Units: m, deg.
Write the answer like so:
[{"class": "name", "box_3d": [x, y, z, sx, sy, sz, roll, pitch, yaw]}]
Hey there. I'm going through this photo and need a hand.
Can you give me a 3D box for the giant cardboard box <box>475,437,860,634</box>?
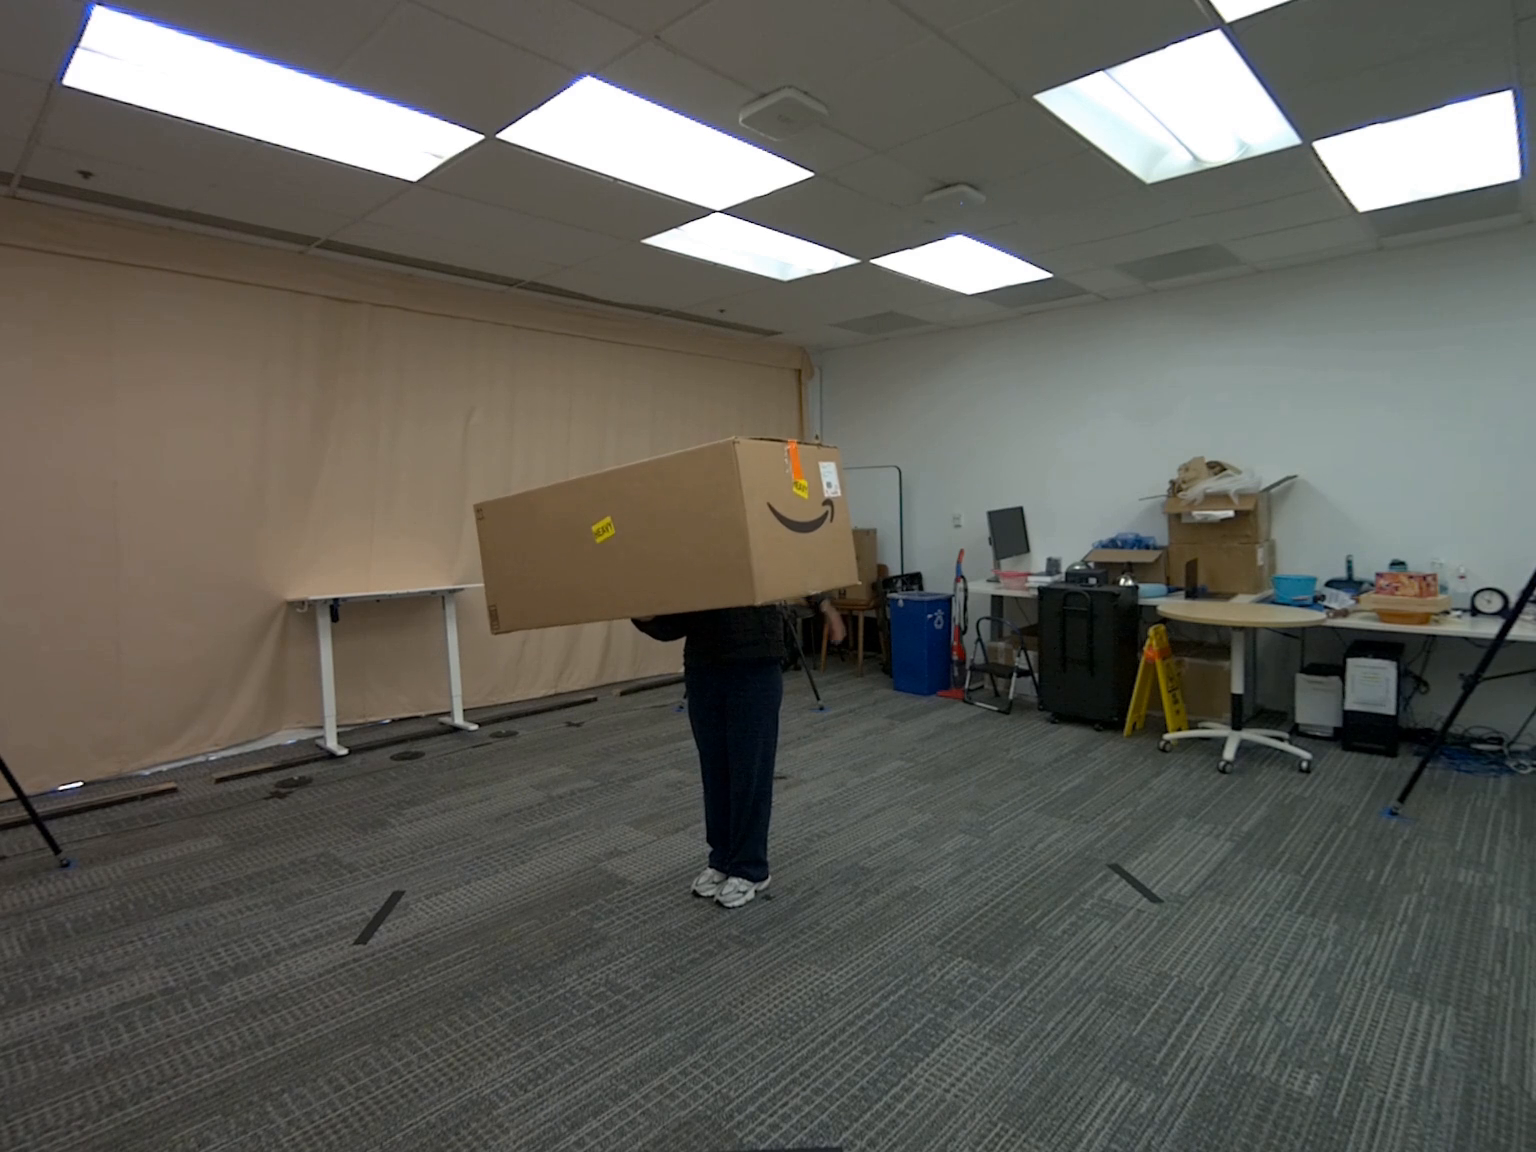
[{"class": "giant cardboard box", "box_3d": [-0.311, -0.108, 2.604, 1.054, 0.426, 0.561, -7, 0, 34]}]
